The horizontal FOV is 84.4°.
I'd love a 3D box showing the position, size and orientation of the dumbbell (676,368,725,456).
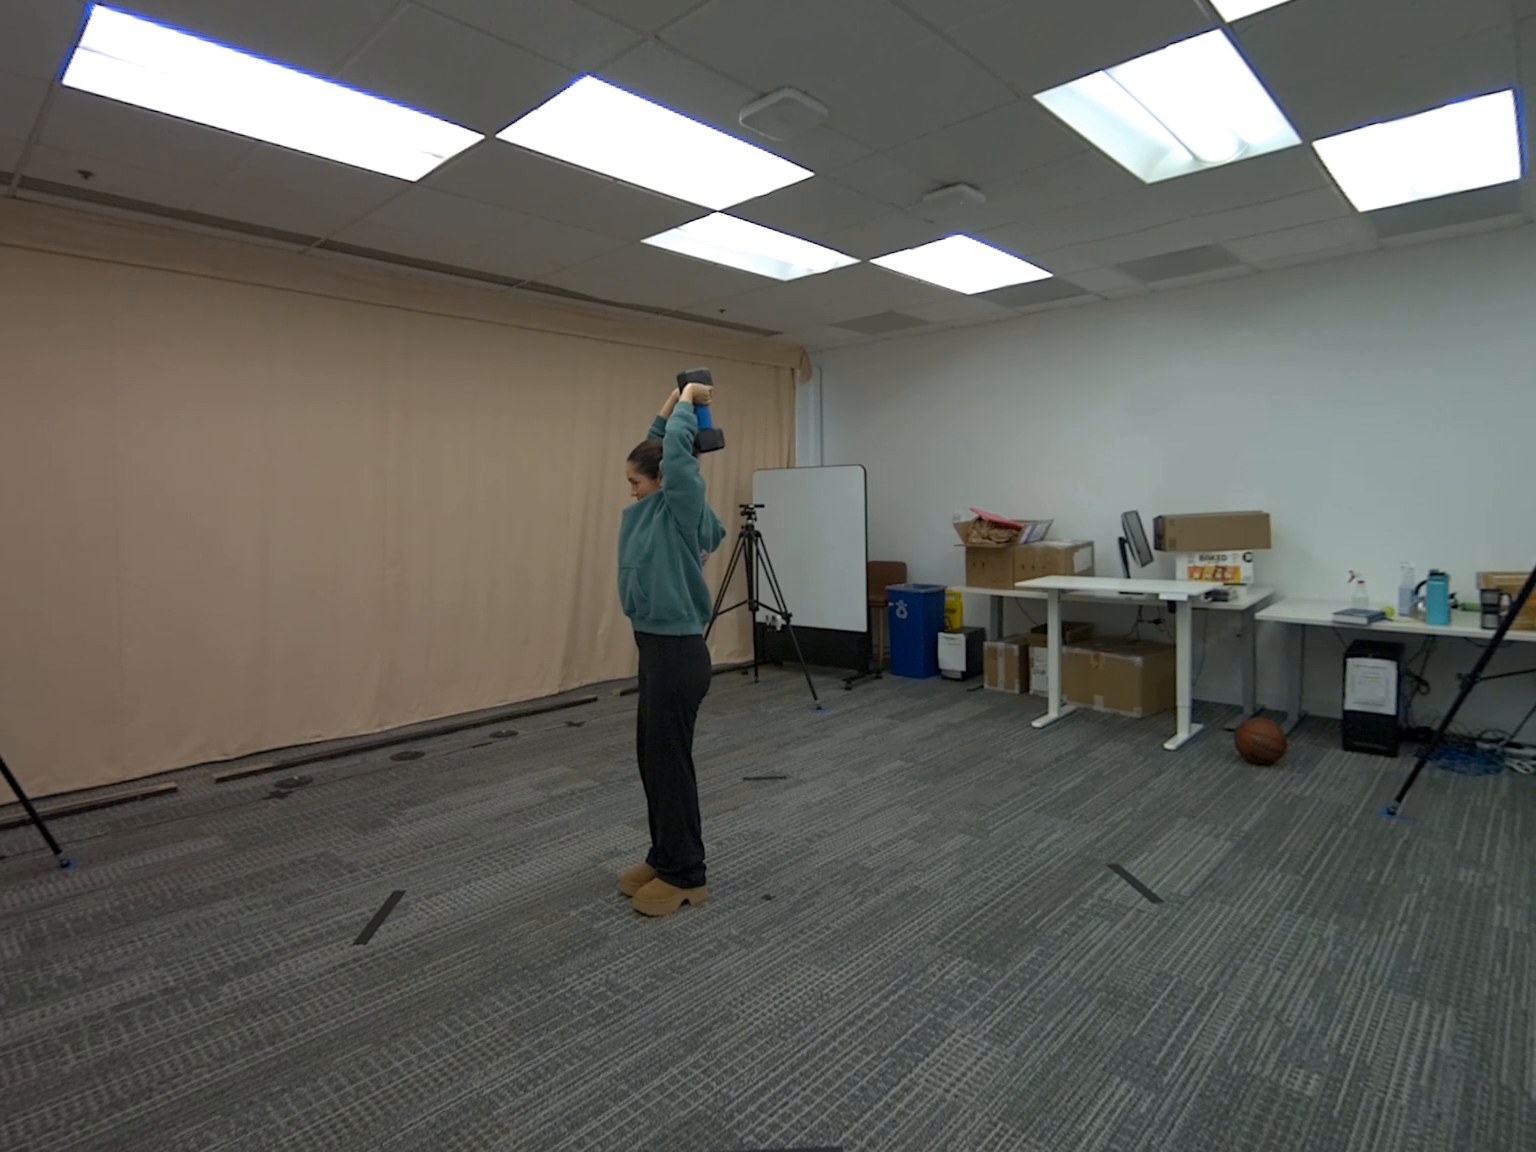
[{"bbox_3d":[-0.237,-0.583,2.976,0.122,0.292,0.110,-16,6,-11],"label":"dumbbell"}]
